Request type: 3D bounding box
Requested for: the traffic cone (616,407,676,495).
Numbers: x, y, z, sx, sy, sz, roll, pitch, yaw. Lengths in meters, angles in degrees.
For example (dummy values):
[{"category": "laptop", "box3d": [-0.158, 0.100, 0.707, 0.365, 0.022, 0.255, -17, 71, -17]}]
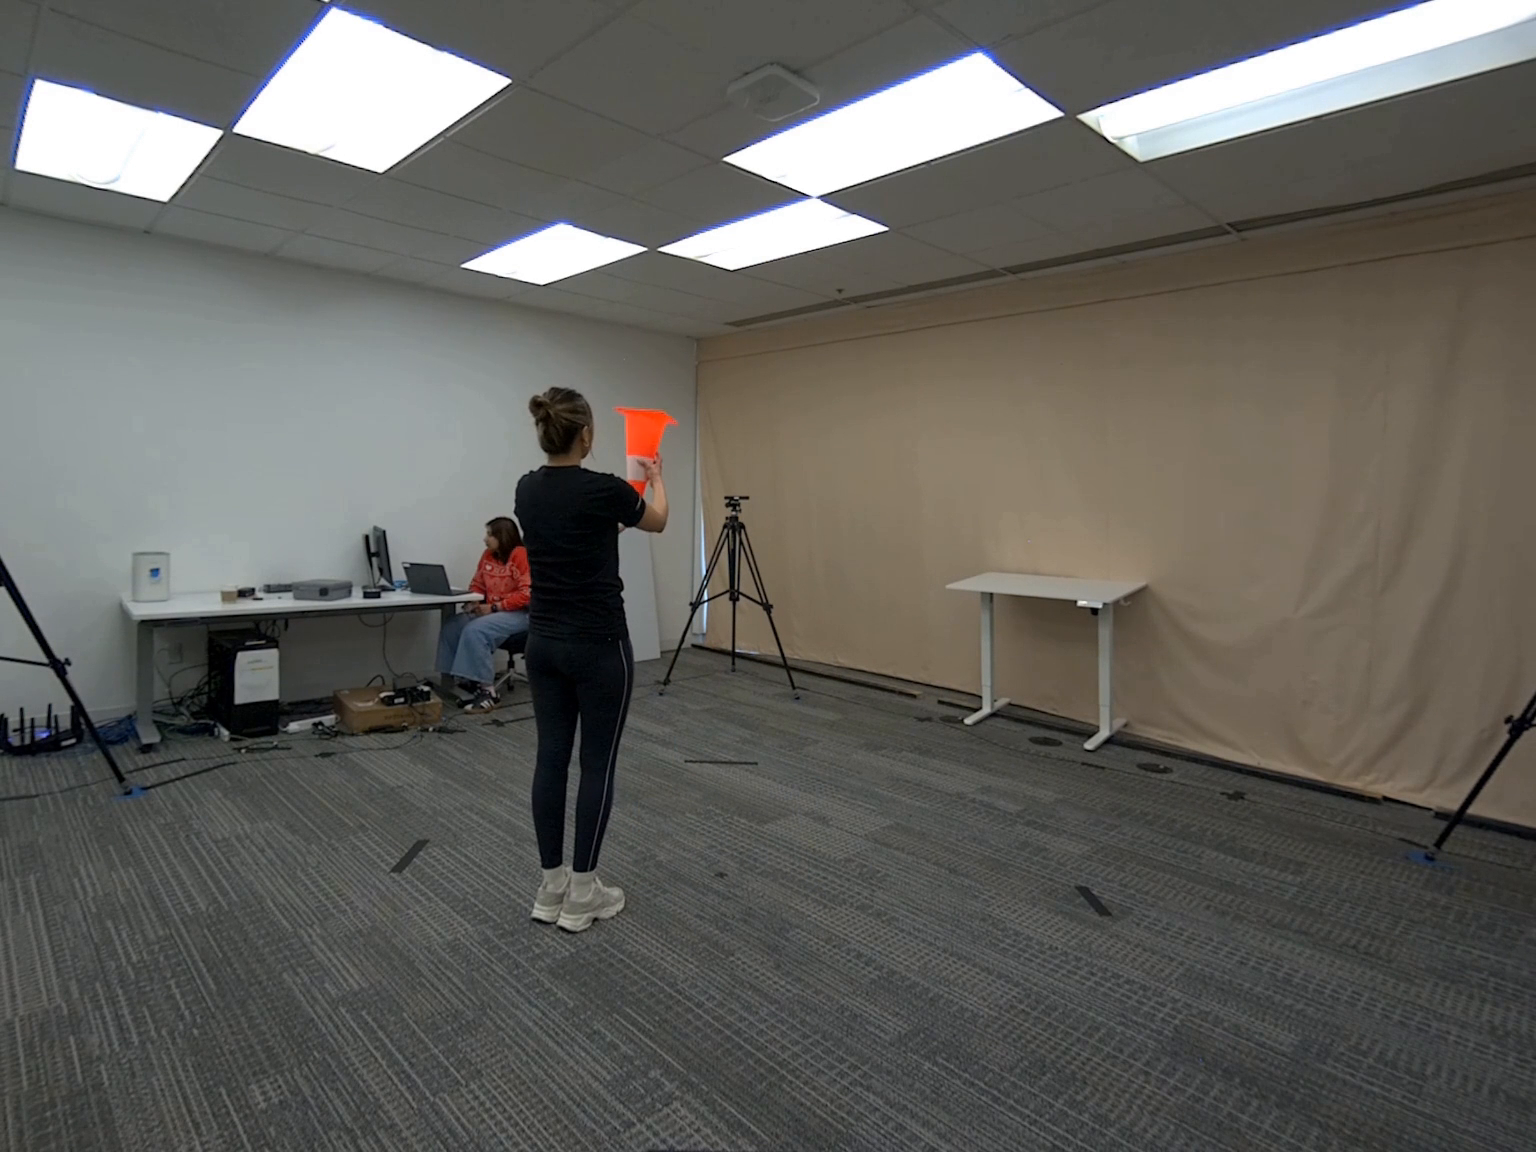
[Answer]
[{"category": "traffic cone", "box3d": [-0.497, -0.414, 3.201, 0.207, 0.384, 0.200, 7, -3, 12]}]
